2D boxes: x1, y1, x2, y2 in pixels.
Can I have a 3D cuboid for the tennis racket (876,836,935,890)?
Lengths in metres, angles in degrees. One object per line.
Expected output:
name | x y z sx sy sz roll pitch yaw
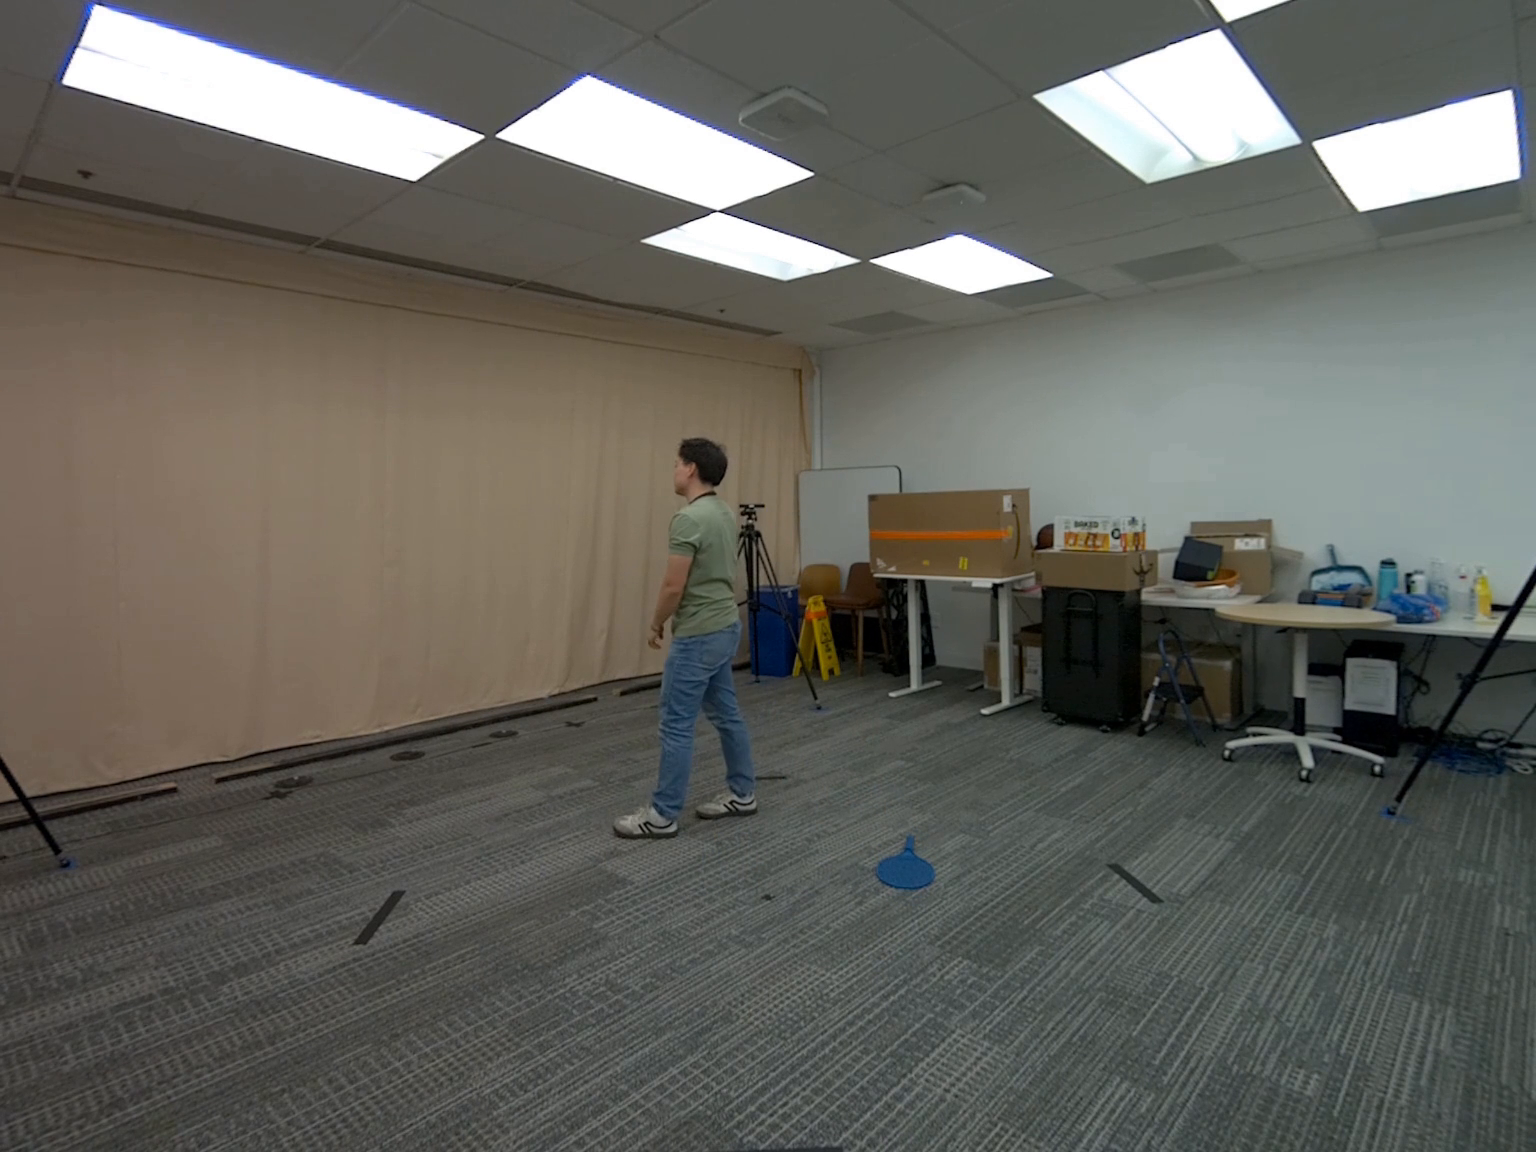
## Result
tennis racket | 0.536 1.096 3.226 0.217 0.031 0.427 1 6 15
